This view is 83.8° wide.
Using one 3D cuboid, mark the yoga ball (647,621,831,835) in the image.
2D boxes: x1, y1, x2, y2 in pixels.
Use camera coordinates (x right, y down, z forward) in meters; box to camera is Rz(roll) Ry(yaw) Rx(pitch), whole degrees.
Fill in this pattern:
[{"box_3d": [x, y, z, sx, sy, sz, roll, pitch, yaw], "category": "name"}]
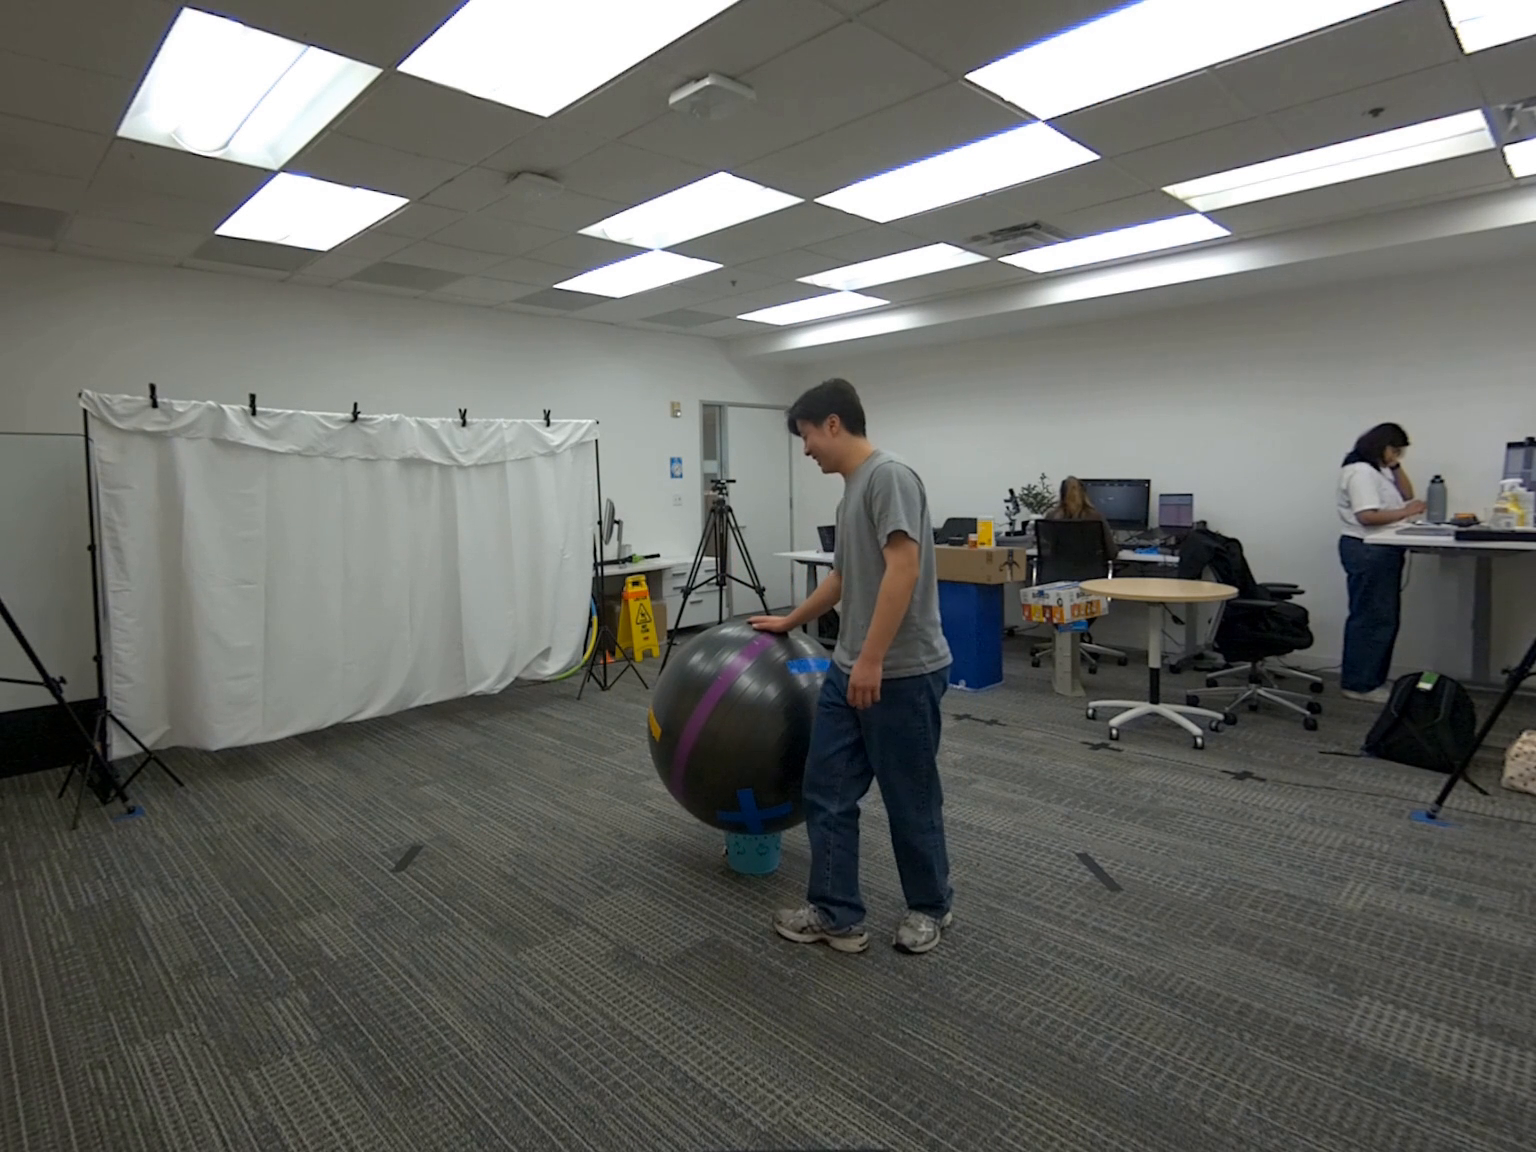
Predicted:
[{"box_3d": [-0.057, 0.536, 3.090, 0.757, 0.755, 0.762, -1, 5, -2], "category": "yoga ball"}]
